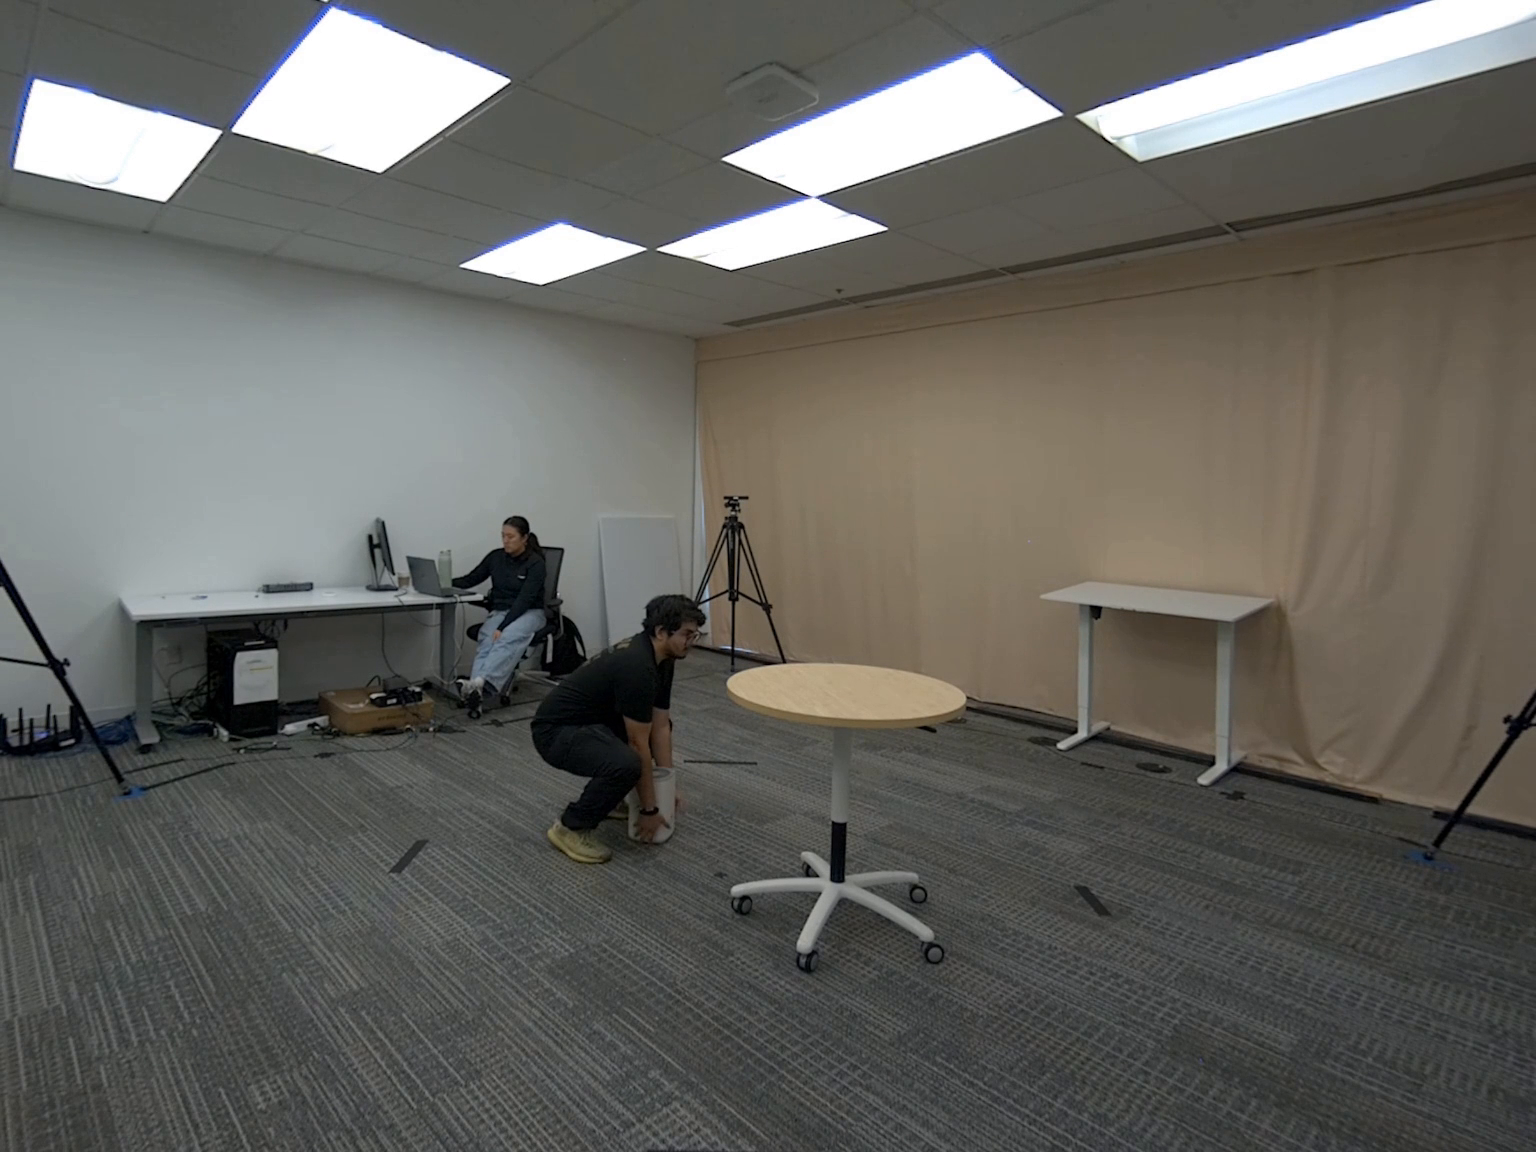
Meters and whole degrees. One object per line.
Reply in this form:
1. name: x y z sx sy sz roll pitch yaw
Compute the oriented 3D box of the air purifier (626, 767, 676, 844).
1. air purifier: -0.486 0.937 3.444 0.176 0.261 0.166 4 4 15
